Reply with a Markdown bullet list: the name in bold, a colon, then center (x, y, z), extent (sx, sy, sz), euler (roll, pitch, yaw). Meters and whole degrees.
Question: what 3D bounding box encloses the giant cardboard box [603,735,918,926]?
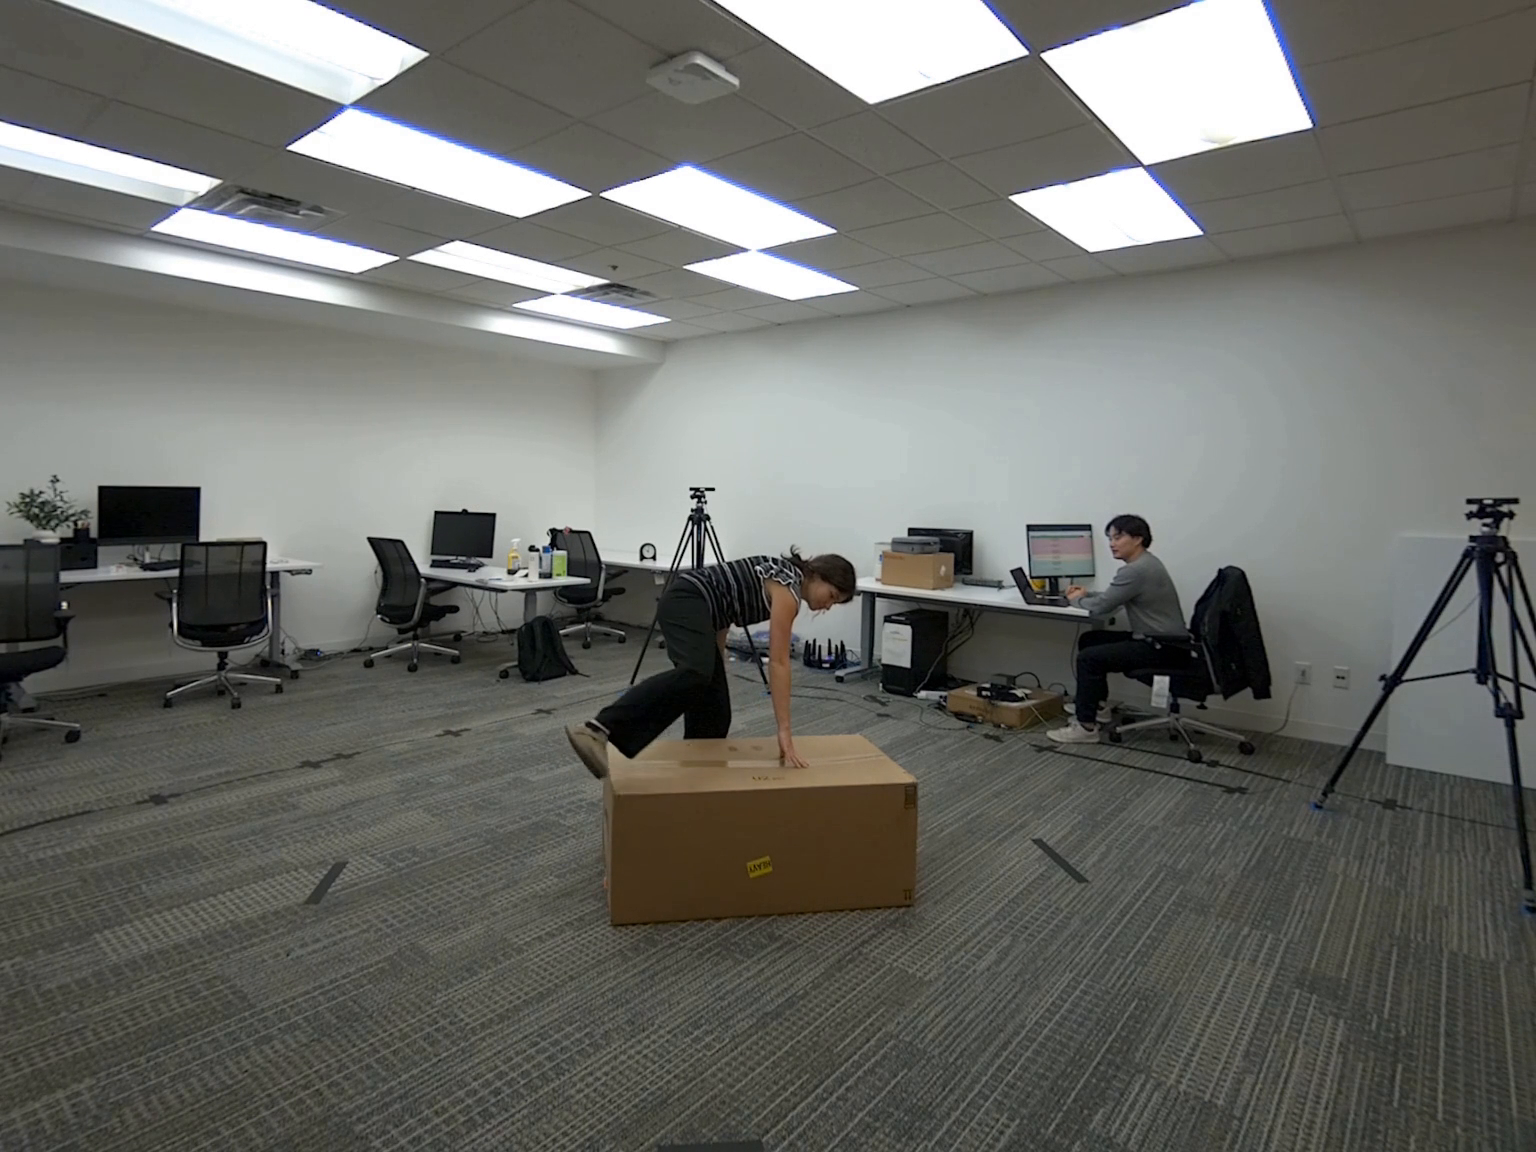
- **giant cardboard box**: center (-0.069, 0.867, 3.039), extent (1.014, 0.425, 0.586), euler (0, 4, -11)
